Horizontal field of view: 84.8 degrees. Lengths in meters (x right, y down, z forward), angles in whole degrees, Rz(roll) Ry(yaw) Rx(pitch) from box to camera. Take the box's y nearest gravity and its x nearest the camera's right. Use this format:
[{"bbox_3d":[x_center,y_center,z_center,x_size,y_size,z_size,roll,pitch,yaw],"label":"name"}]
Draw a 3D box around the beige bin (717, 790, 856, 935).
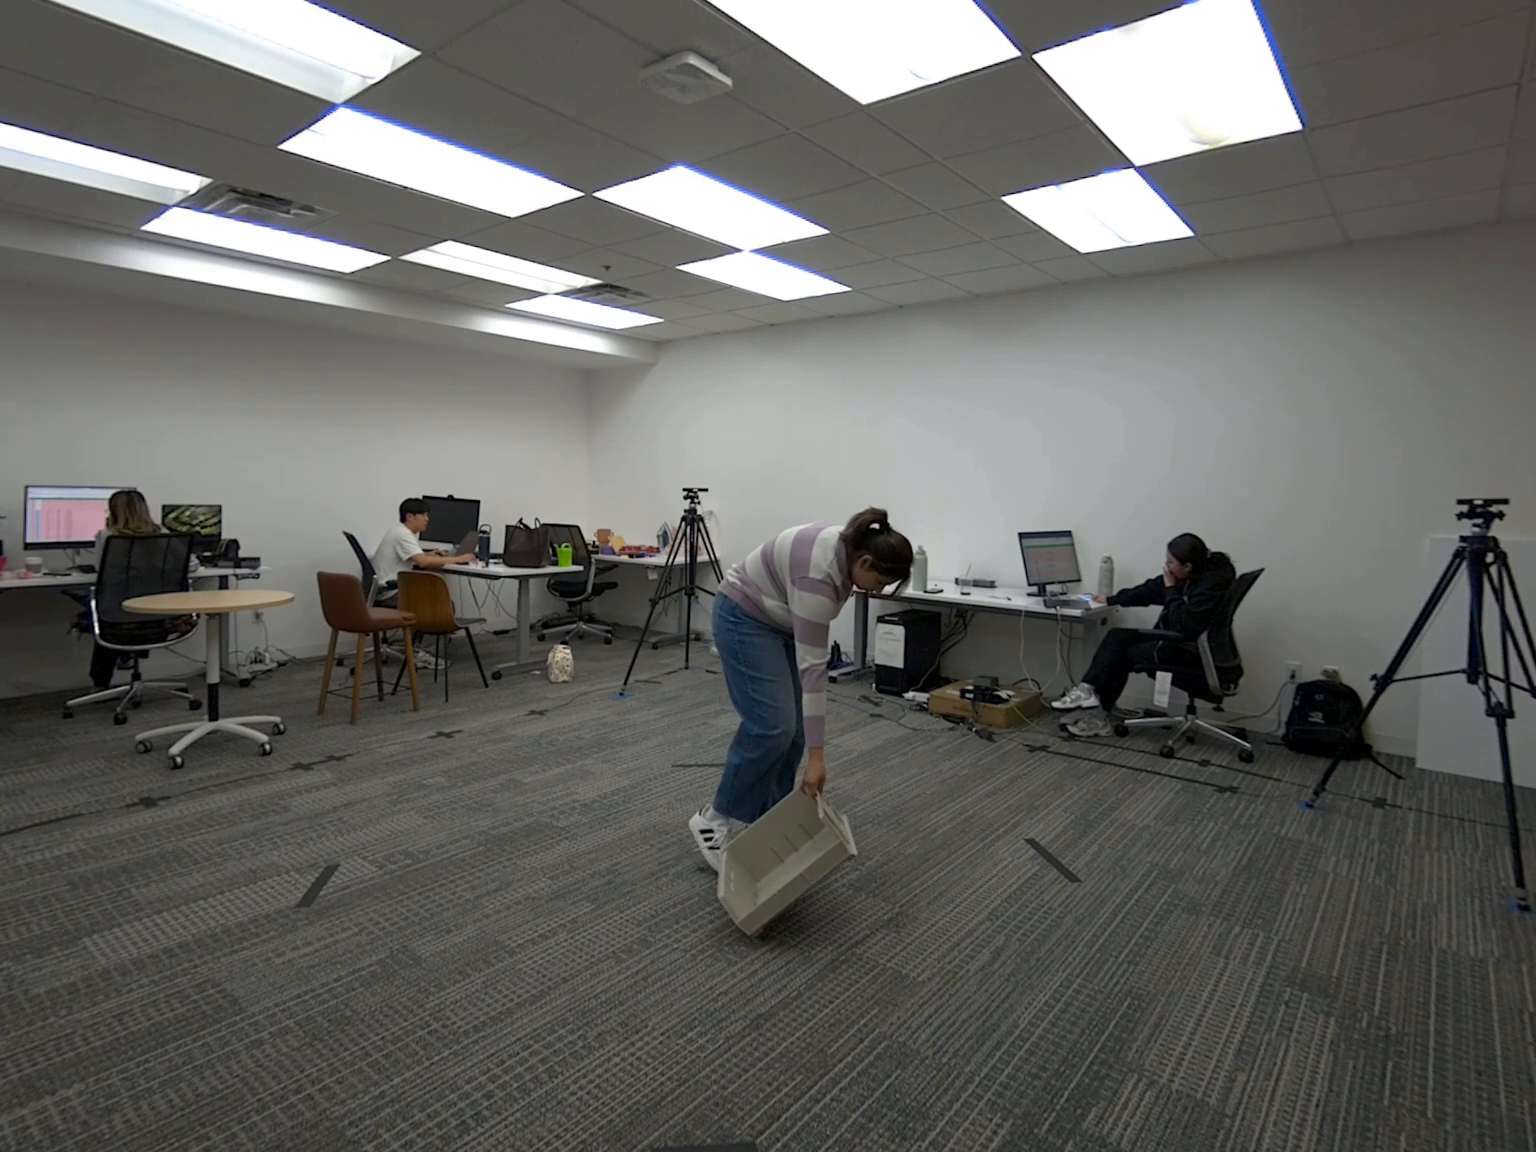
[{"bbox_3d":[0.046,0.907,2.761,0.422,0.188,0.379,-42,5,2],"label":"beige bin"}]
